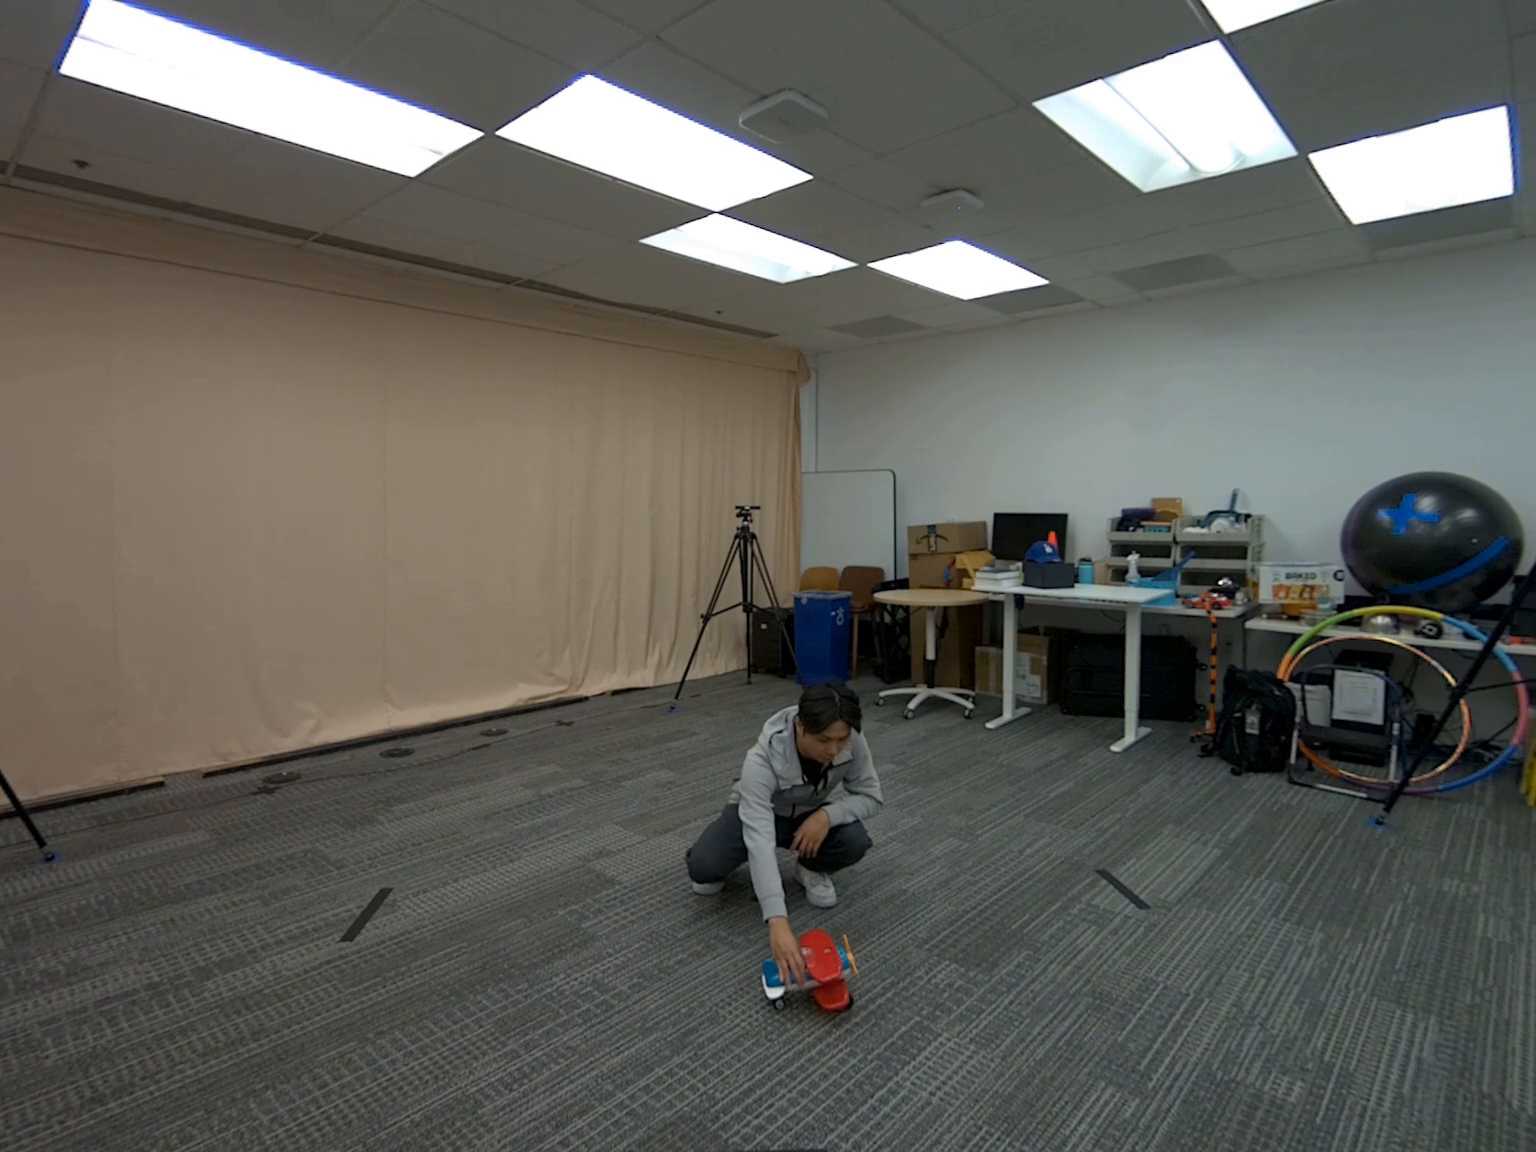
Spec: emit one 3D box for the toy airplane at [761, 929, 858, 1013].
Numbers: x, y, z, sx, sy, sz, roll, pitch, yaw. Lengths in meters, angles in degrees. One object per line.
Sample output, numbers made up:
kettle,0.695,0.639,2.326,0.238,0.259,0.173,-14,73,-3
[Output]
toy airplane,0.122,1.119,2.339,0.252,0.156,0.259,-2,5,-35
